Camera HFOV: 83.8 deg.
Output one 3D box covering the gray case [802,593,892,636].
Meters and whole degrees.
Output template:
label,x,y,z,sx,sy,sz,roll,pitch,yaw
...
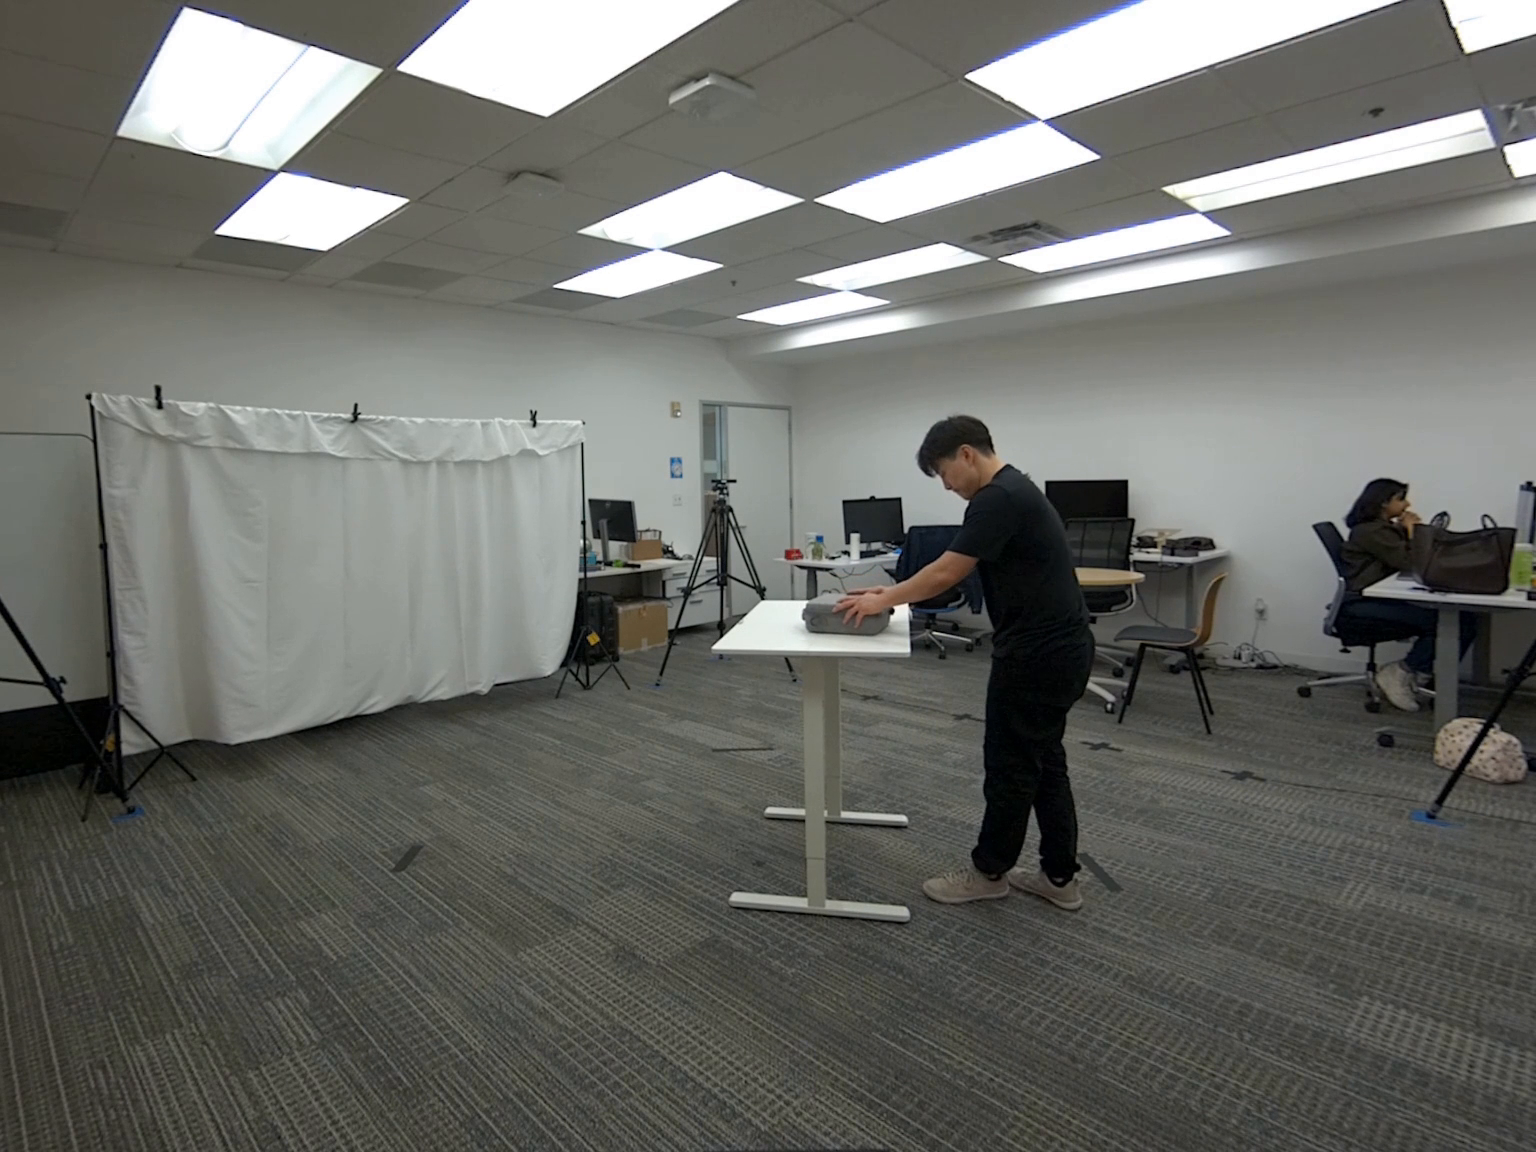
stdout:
label,x,y,z,sx,sy,sz,roll,pitch,yaw
gray case,0.273,0.127,2.928,0.266,0.104,0.253,3,8,22
